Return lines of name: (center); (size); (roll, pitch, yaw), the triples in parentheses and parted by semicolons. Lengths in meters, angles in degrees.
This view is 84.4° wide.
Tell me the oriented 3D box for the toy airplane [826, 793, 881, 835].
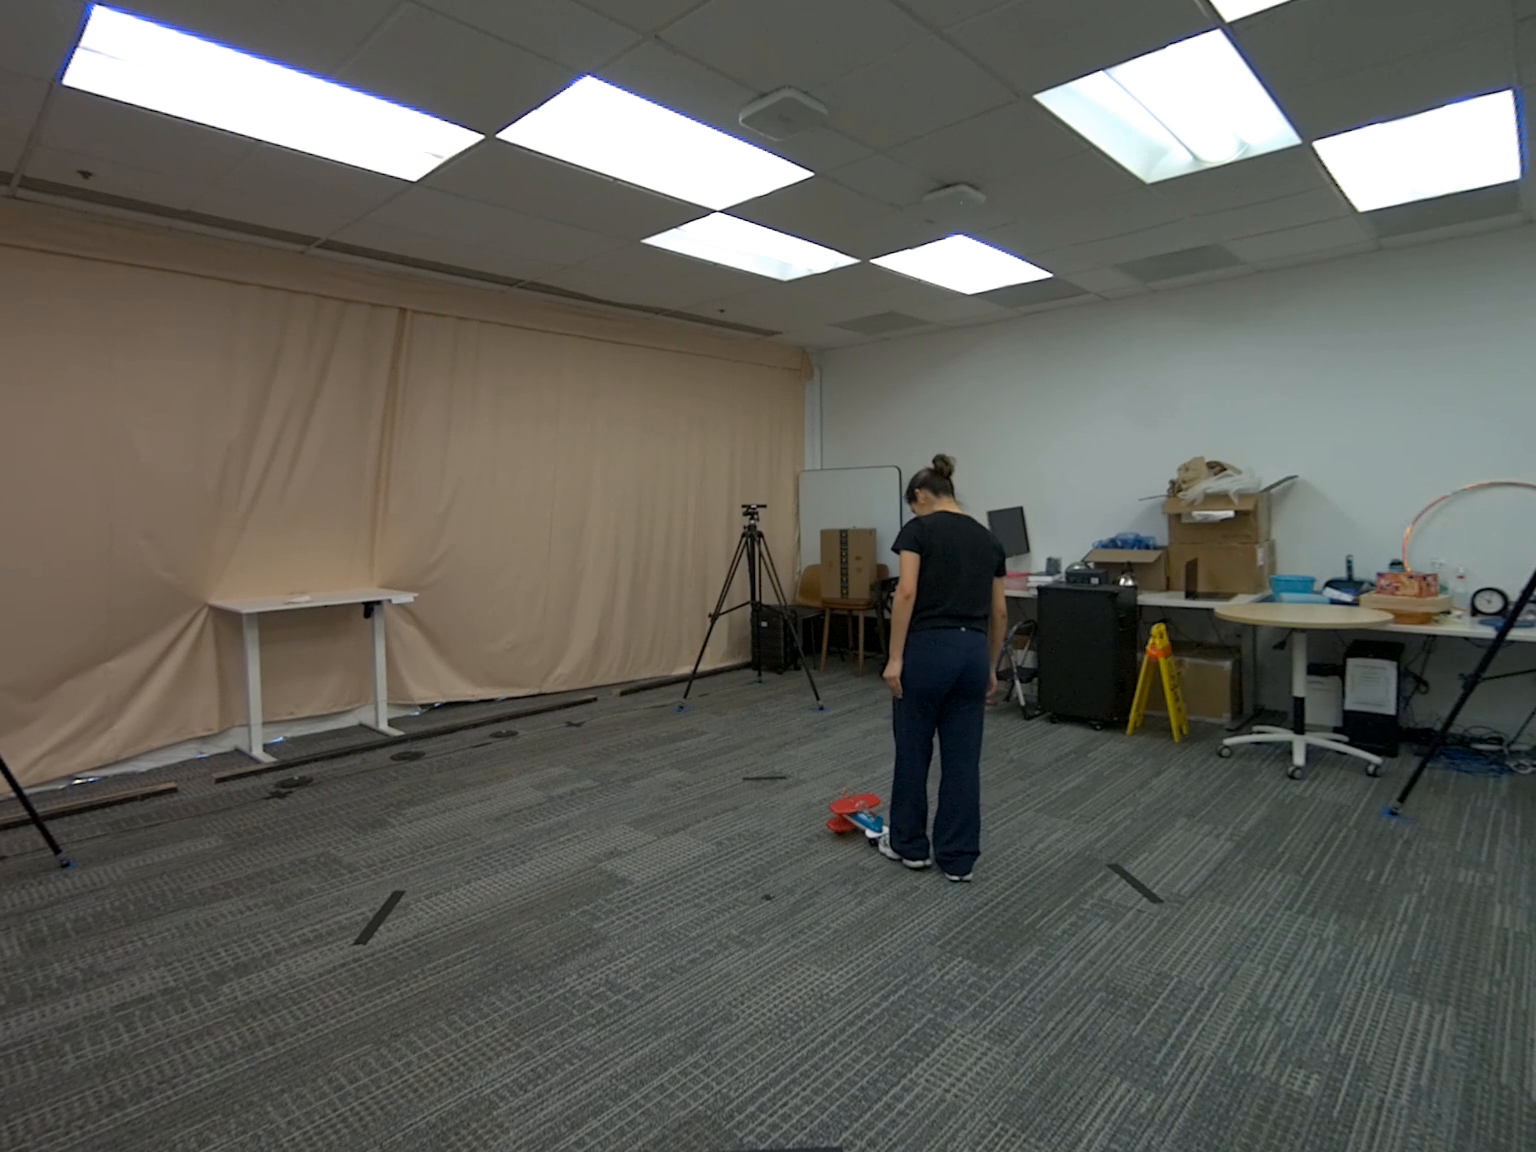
toy airplane: (0.409, 1.011, 3.507); (0.266, 0.156, 0.245); (0, 4, 27)
